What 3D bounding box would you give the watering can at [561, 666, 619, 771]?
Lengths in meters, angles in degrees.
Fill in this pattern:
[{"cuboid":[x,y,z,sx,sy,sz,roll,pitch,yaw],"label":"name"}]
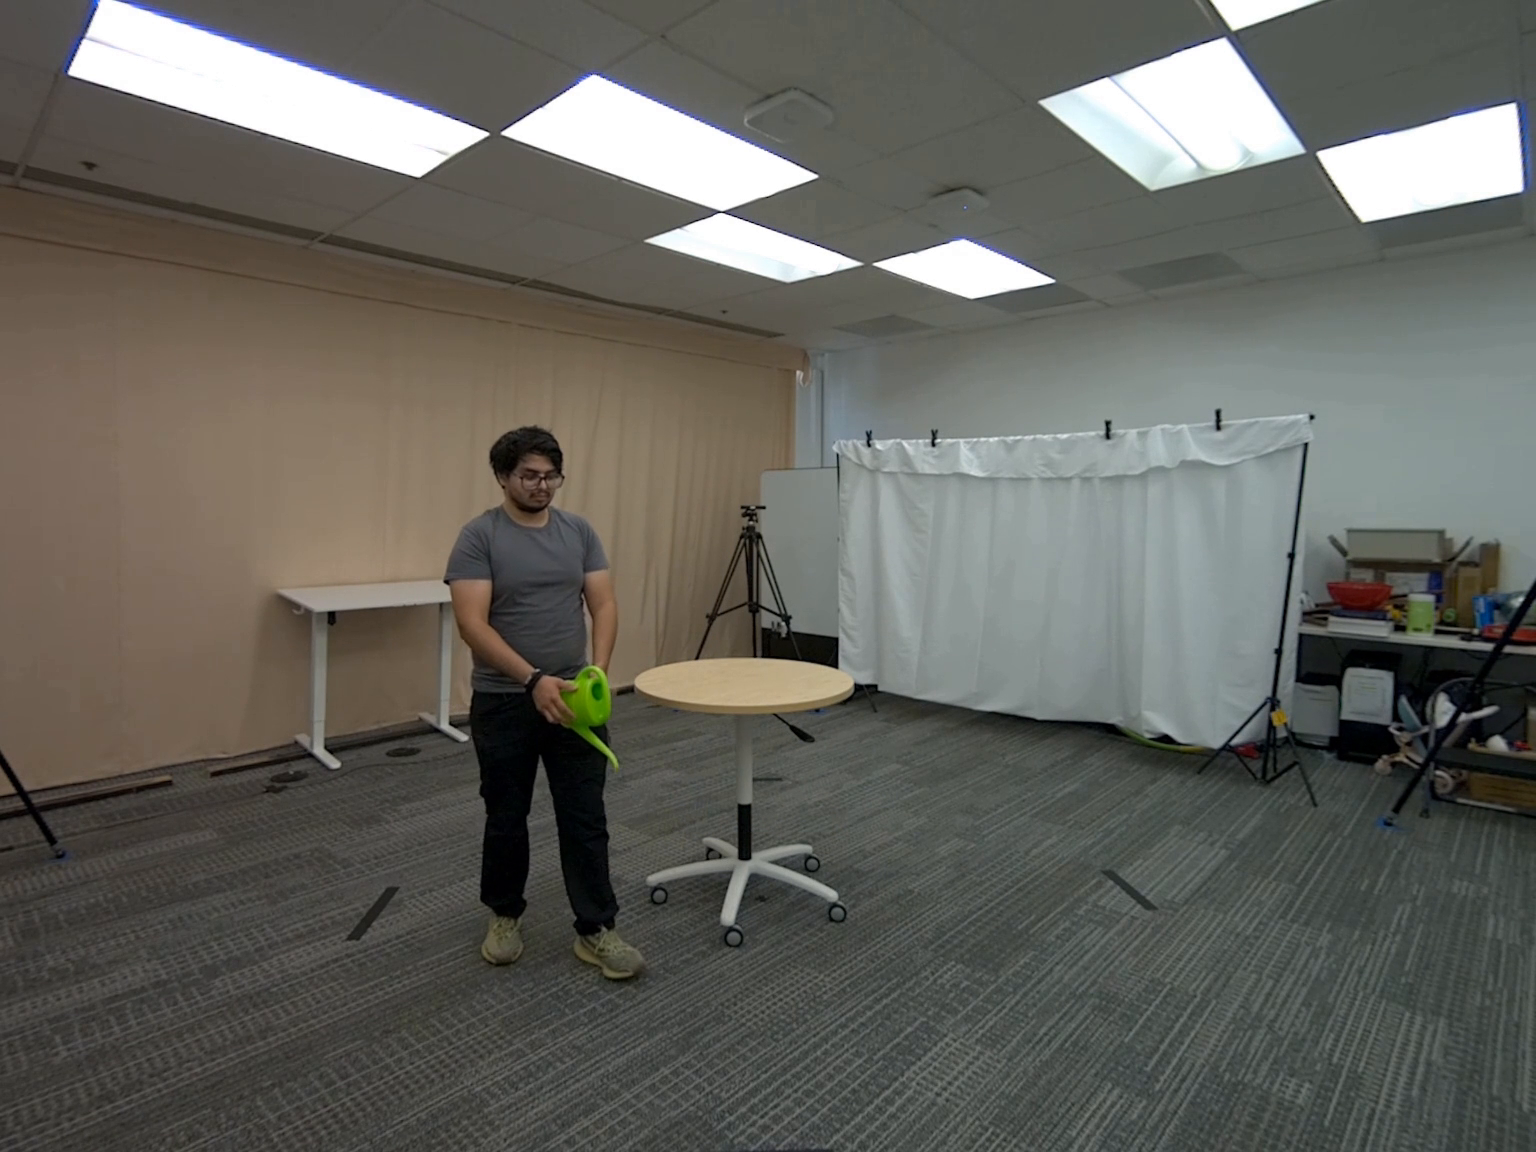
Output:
[{"cuboid":[-0.489,0.387,2.293,0.181,0.281,0.094,-12,-21,37],"label":"watering can"}]
